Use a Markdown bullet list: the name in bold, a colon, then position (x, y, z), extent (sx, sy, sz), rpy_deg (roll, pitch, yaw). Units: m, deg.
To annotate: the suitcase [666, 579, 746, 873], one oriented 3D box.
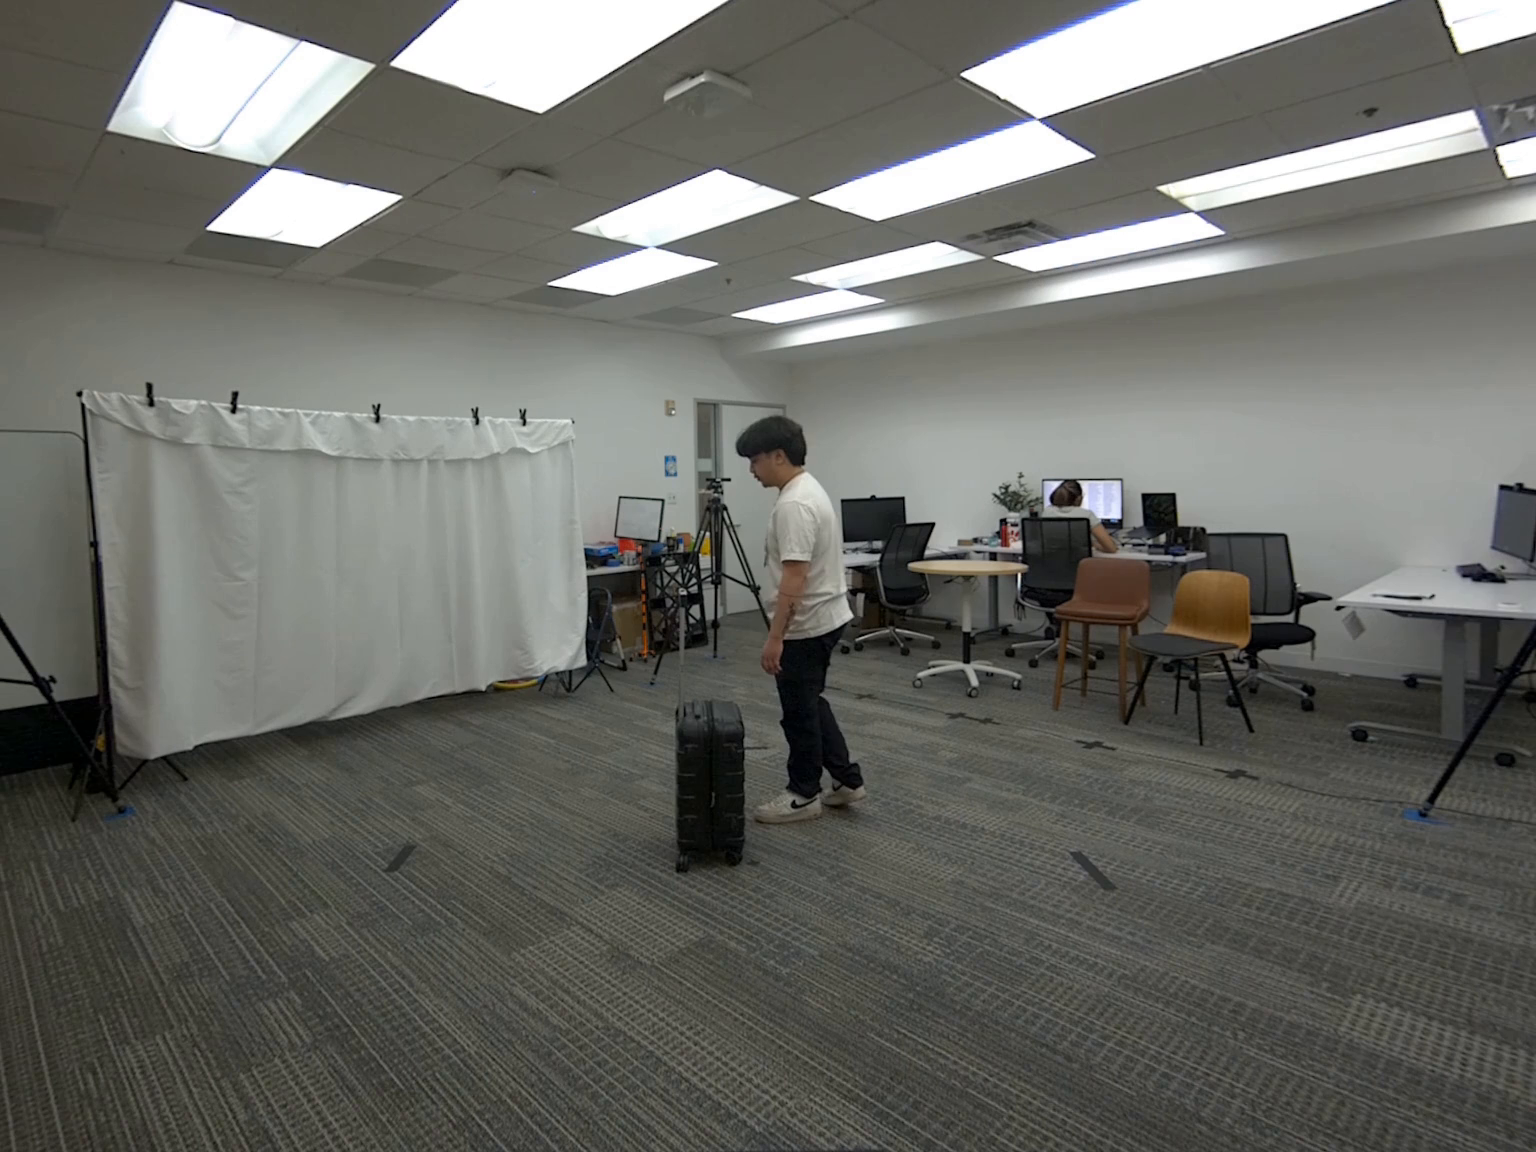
- **suitcase**: position (-0.215, 0.556, 3.199), extent (0.255, 0.975, 0.388), rpy_deg (1, 4, -8)
